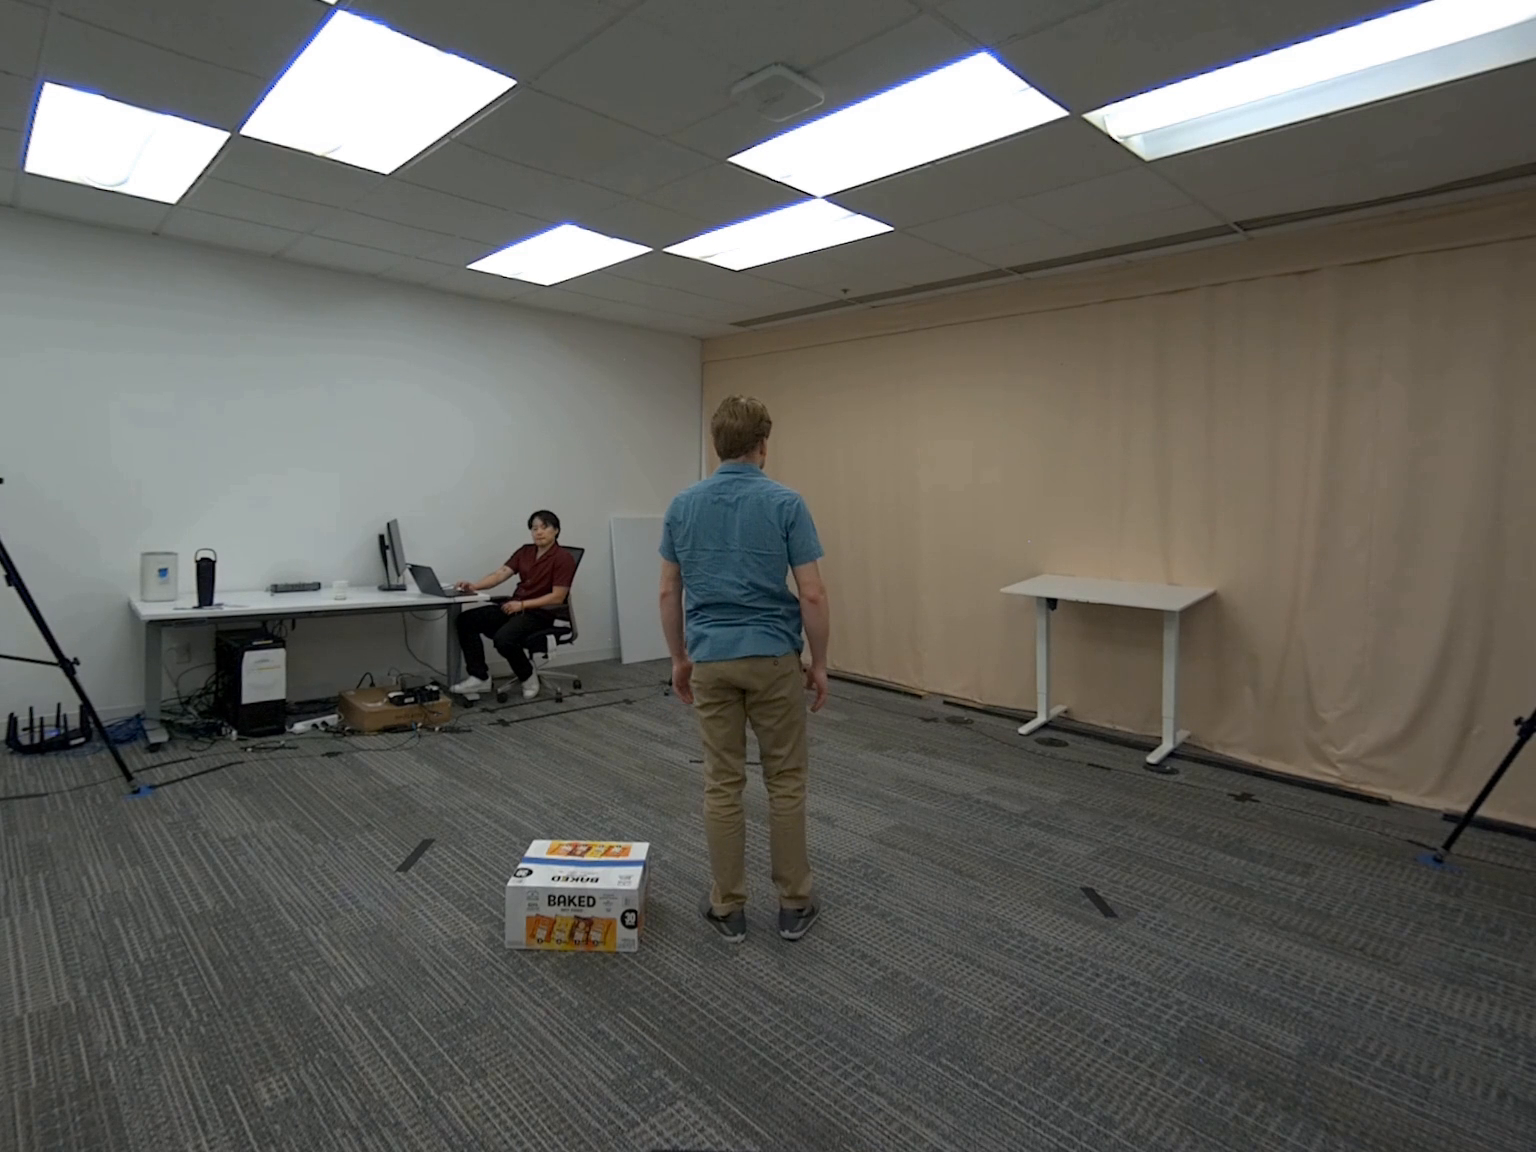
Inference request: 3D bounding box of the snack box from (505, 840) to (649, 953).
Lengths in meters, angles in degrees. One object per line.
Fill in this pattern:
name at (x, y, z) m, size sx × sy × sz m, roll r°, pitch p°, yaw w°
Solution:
snack box at (-0.615, 1.025, 2.718) m, size 0.405 × 0.205 × 0.341 m, roll 1°, pitch 4°, yaw -1°
